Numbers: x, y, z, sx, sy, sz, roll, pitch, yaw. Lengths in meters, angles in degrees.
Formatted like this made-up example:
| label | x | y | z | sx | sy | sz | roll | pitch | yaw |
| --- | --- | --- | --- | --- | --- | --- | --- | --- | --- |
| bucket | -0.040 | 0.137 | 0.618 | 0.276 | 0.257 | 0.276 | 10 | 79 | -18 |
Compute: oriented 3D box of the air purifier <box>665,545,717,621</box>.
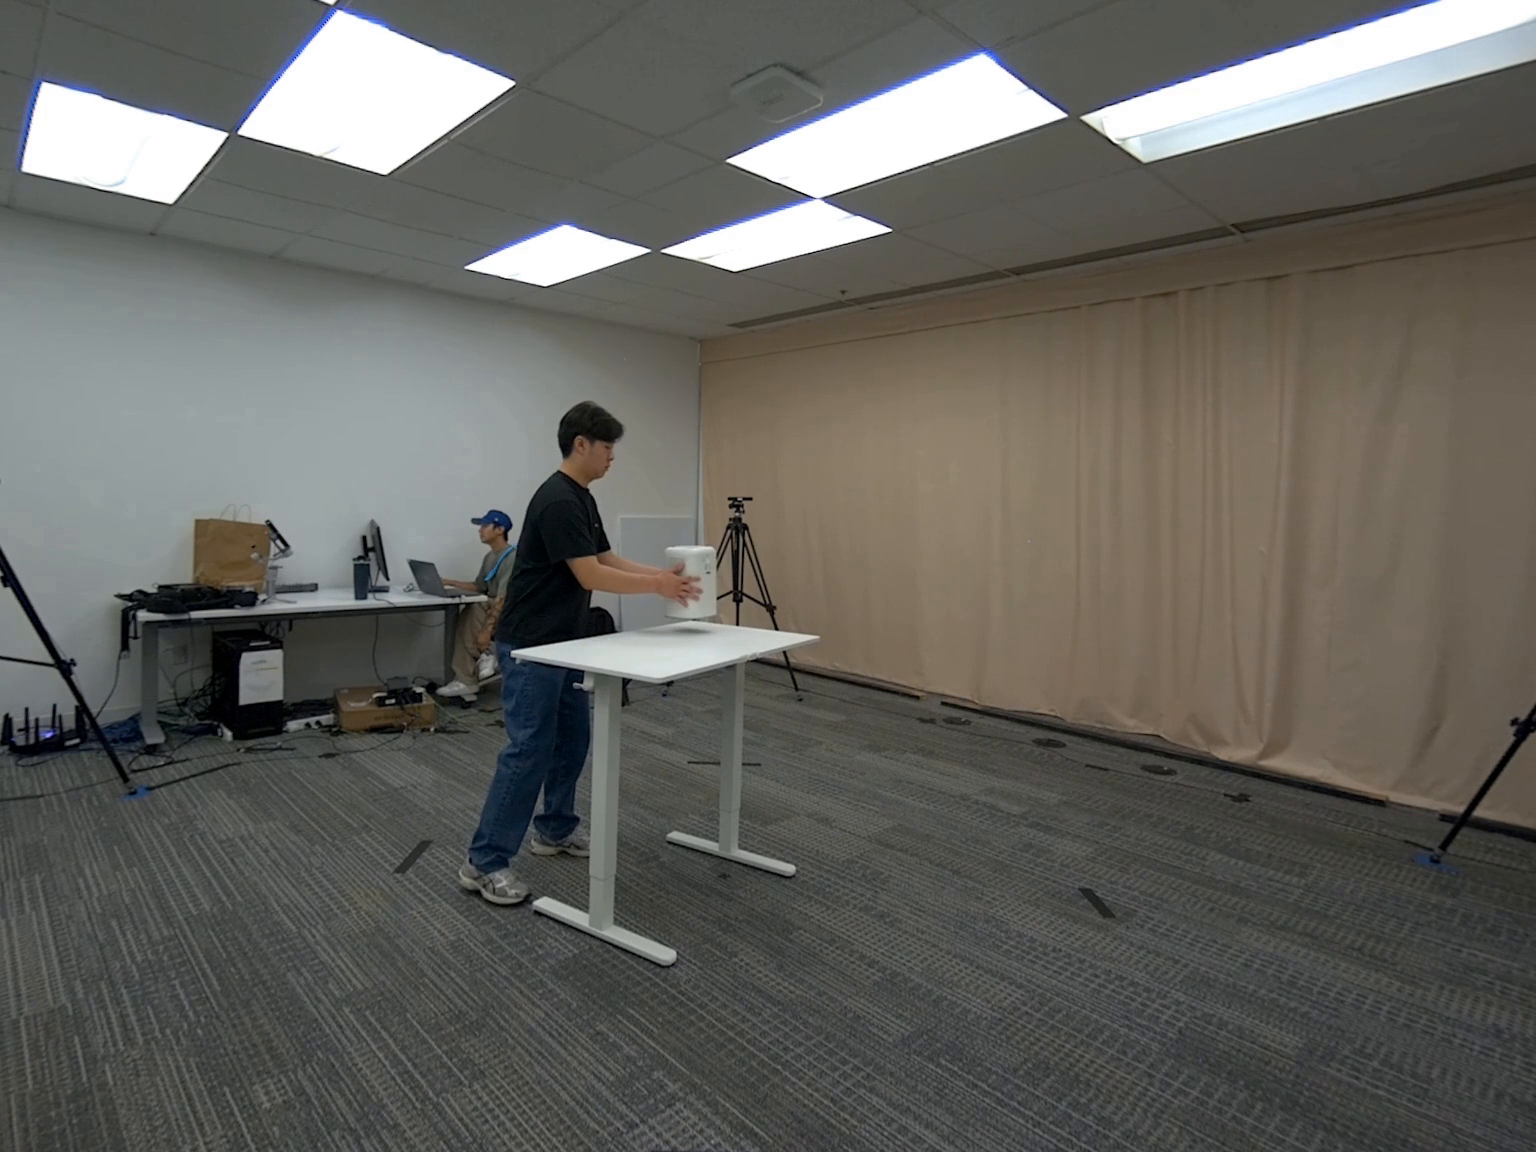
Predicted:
| label | x | y | z | sx | sy | sz | roll | pitch | yaw |
| --- | --- | --- | --- | --- | --- | --- | --- | --- | --- |
| air purifier | -0.312 | 0.022 | 3.192 | 0.175 | 0.264 | 0.168 | 2 | 5 | 29 |
